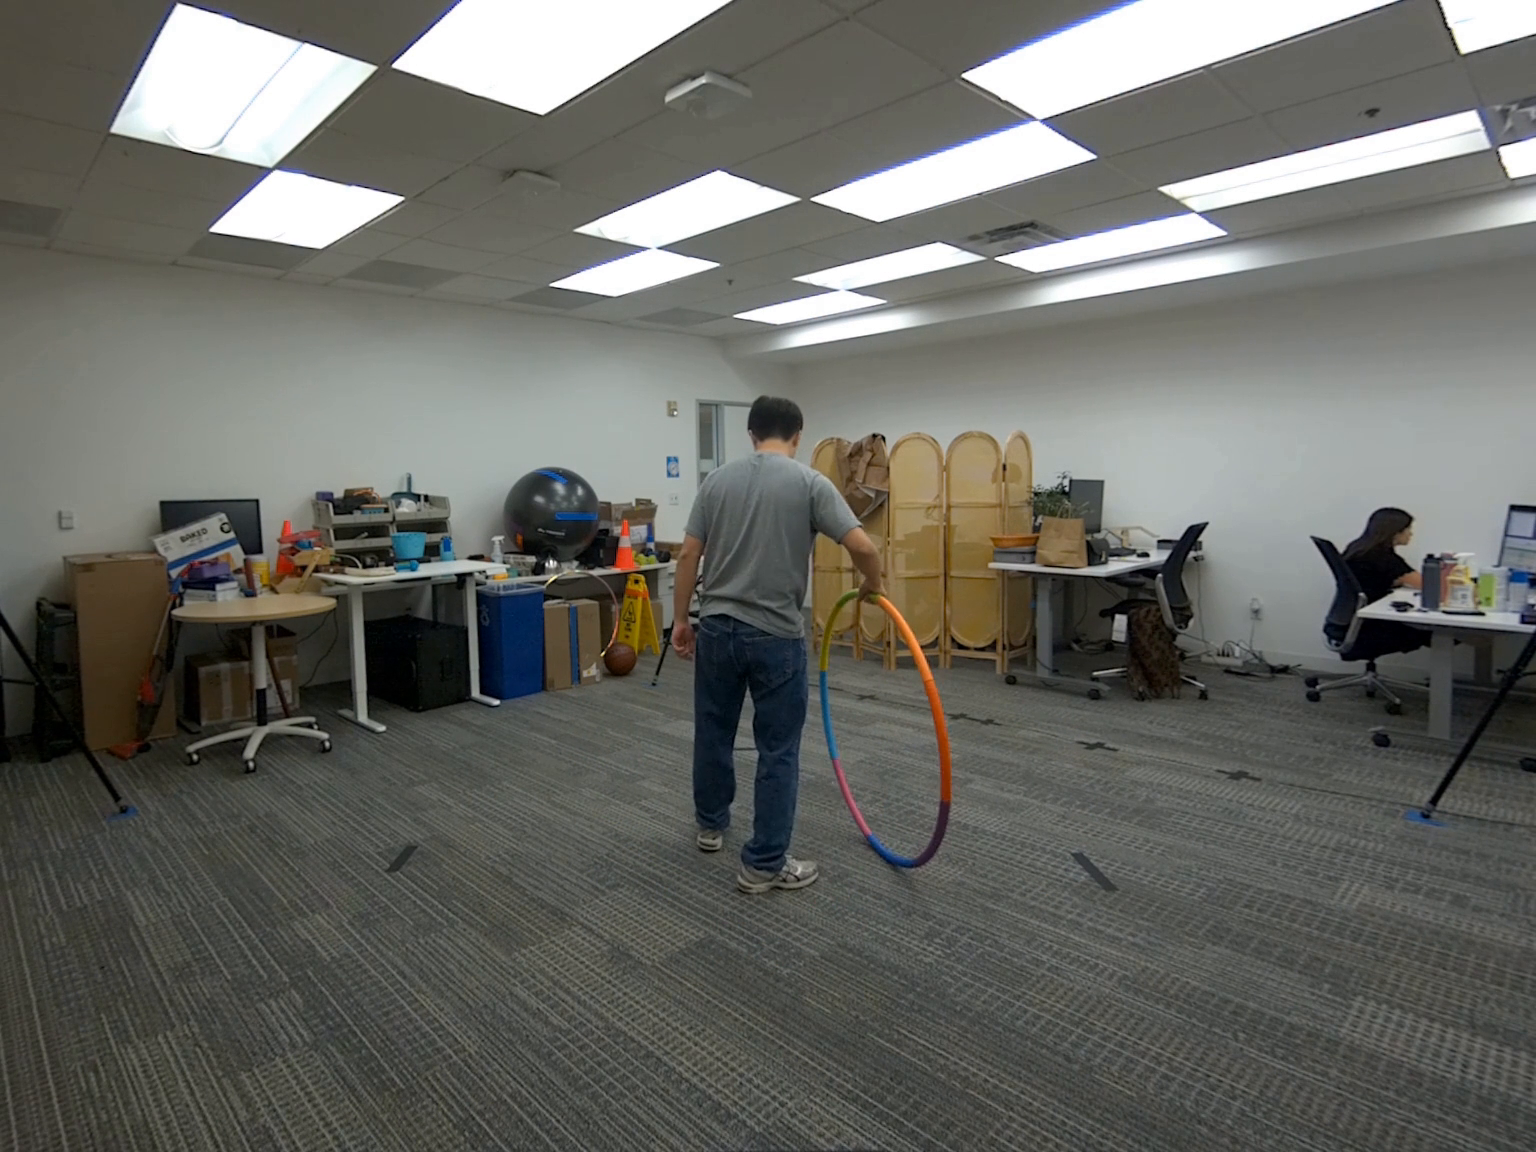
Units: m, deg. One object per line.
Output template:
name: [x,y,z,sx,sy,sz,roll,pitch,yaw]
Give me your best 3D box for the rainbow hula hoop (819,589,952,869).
rainbow hula hoop: [0.380,0.527,3.114,0.035,0.974,0.999,-5,6,-19]
